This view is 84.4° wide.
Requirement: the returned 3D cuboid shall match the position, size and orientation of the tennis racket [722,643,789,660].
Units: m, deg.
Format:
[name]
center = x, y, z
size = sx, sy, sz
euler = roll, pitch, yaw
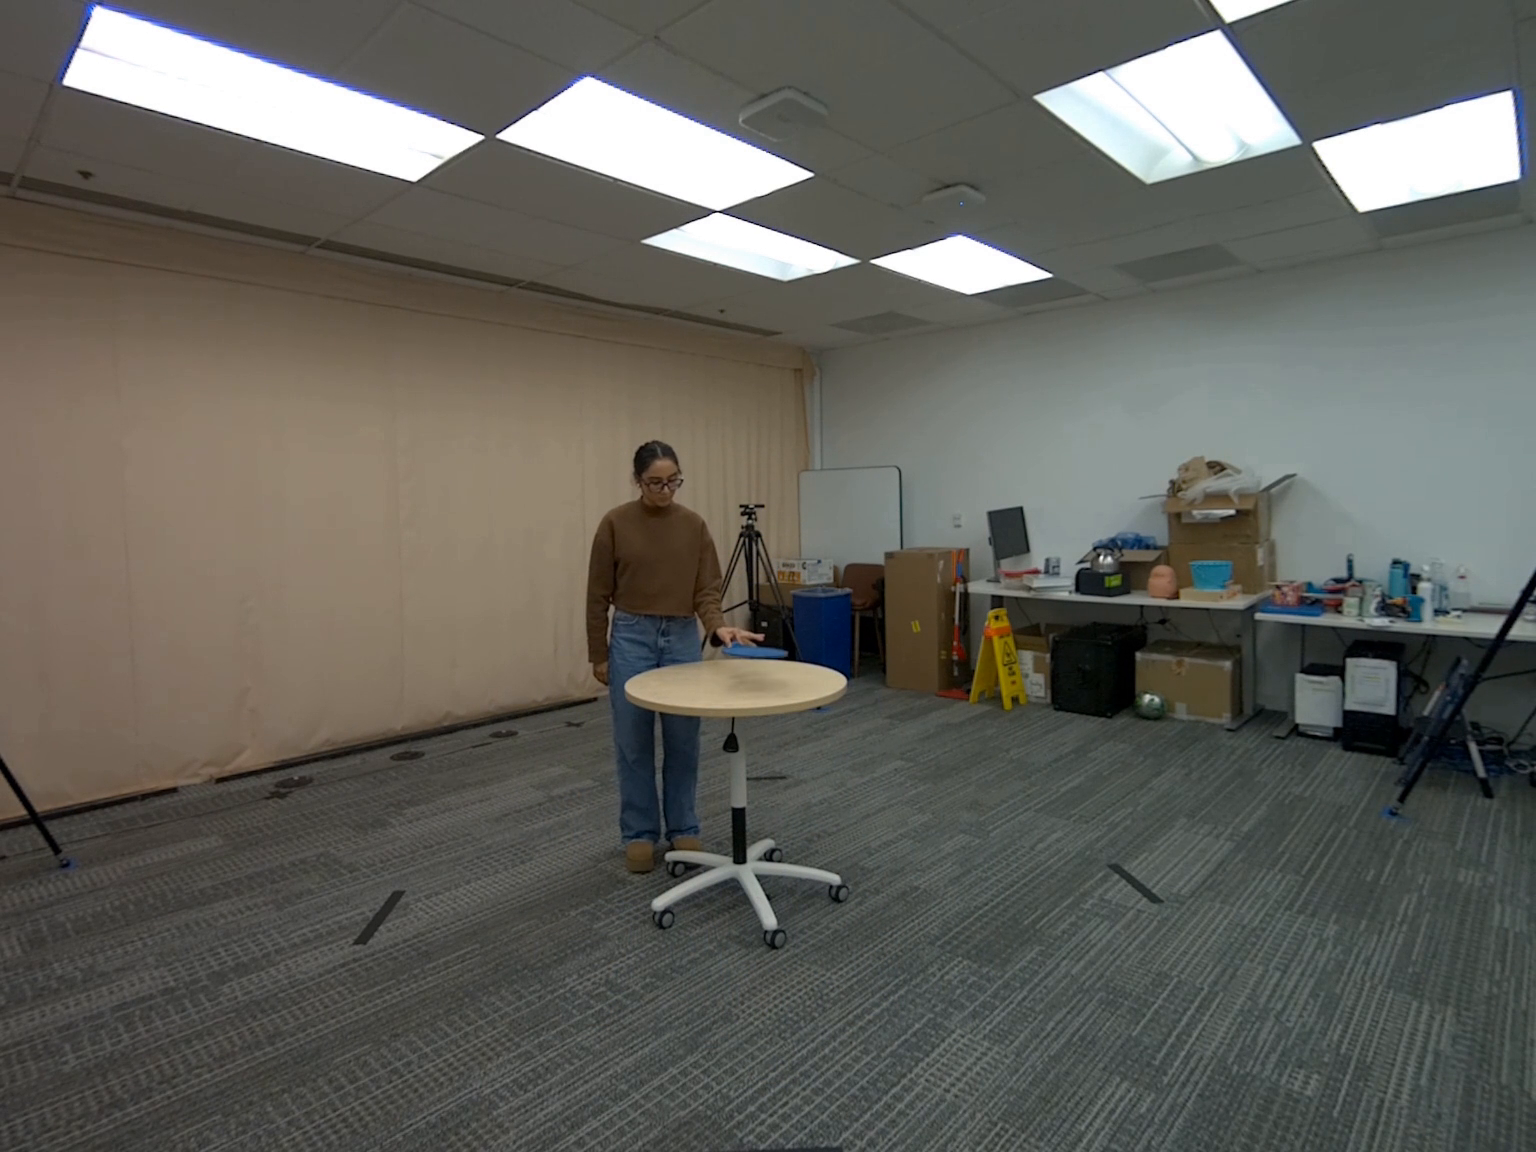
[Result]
[tennis racket]
center = -0.058, 0.246, 2.885
size = 0.209, 0.032, 0.442
euler = 2, 2, -20
